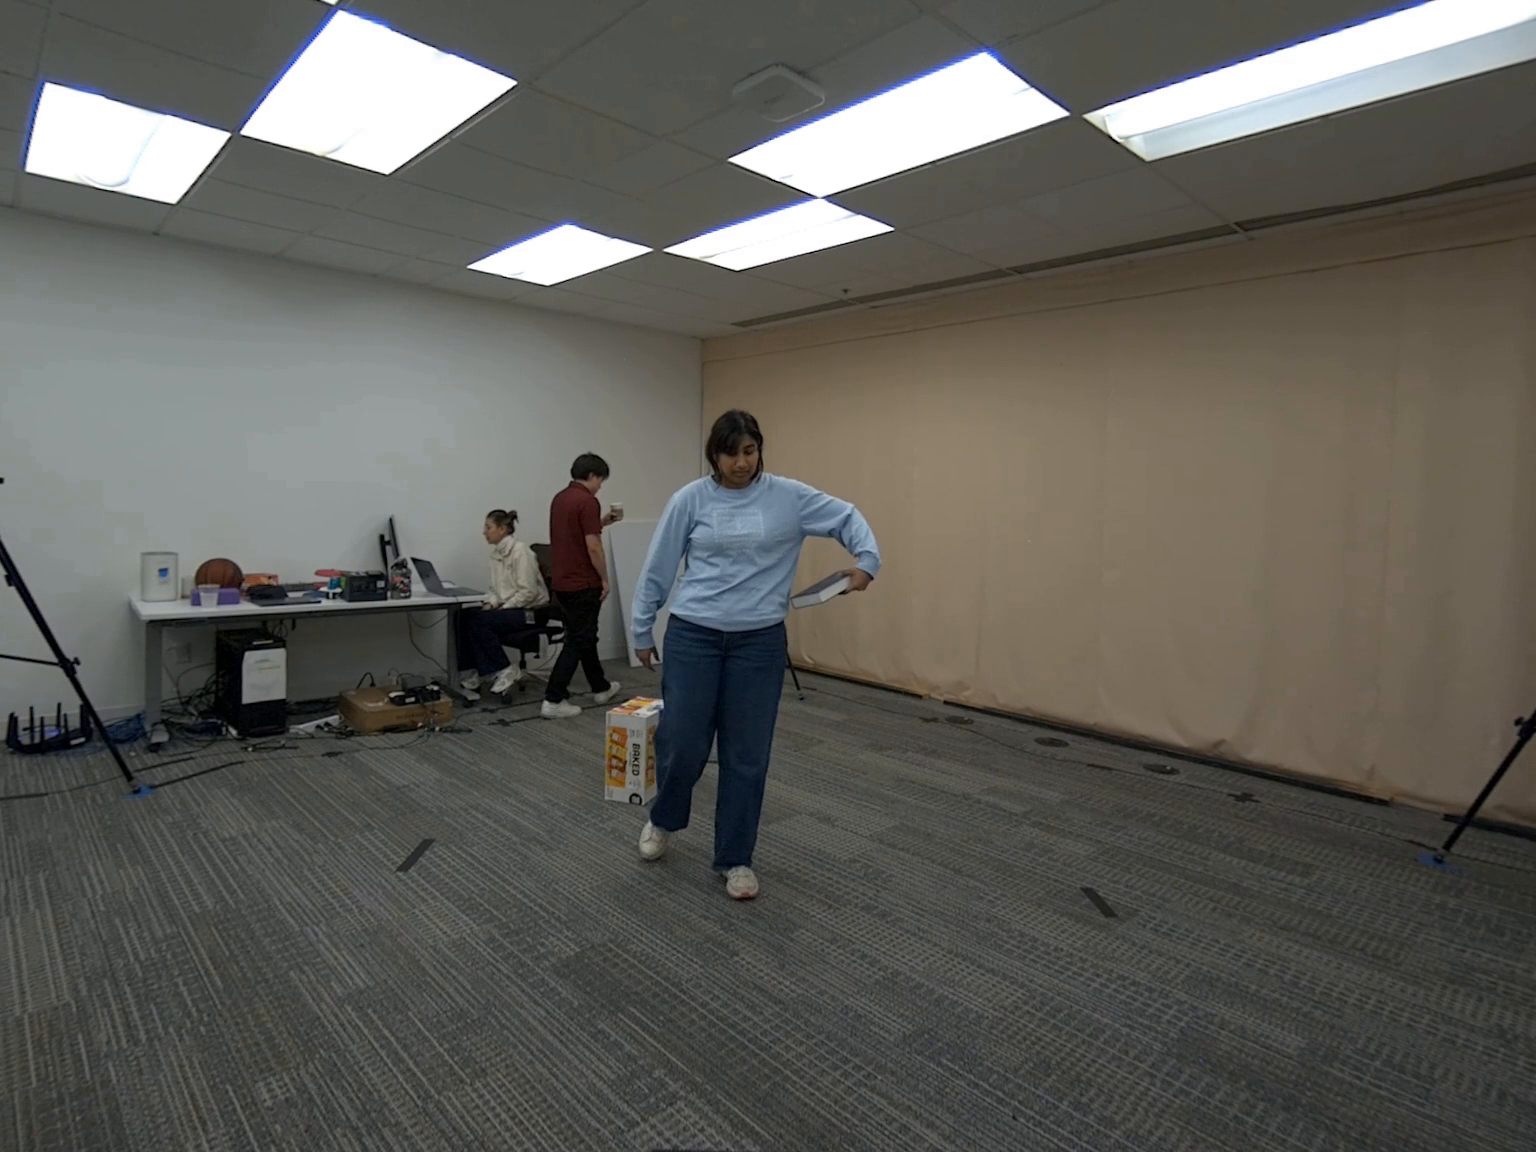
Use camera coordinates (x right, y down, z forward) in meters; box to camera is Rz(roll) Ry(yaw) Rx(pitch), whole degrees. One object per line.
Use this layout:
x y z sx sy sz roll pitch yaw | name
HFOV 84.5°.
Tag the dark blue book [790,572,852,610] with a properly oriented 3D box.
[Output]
0.204 0.037 2.956 0.242 0.045 0.166 -27 7 -36 | dark blue book
